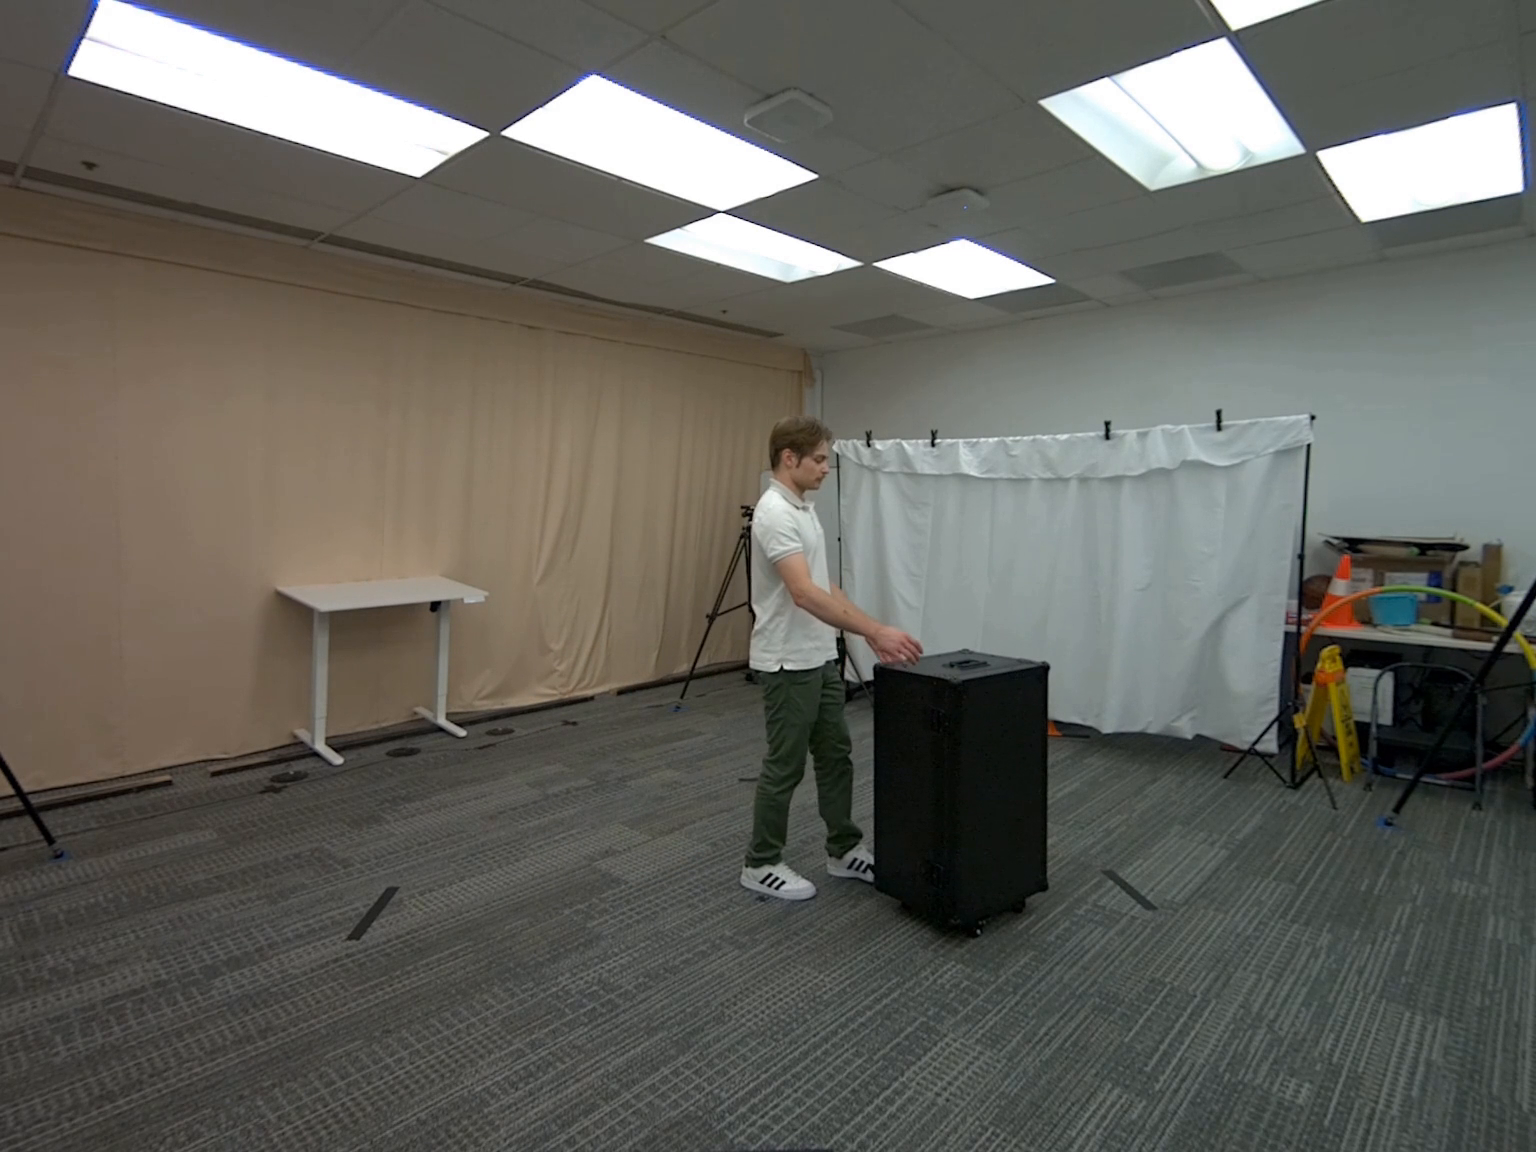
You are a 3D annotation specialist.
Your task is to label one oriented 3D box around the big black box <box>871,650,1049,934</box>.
[{"bbox_3d":[0.664,0.729,2.875,0.508,0.867,0.397,-2,3,-36],"label":"big black box"}]
